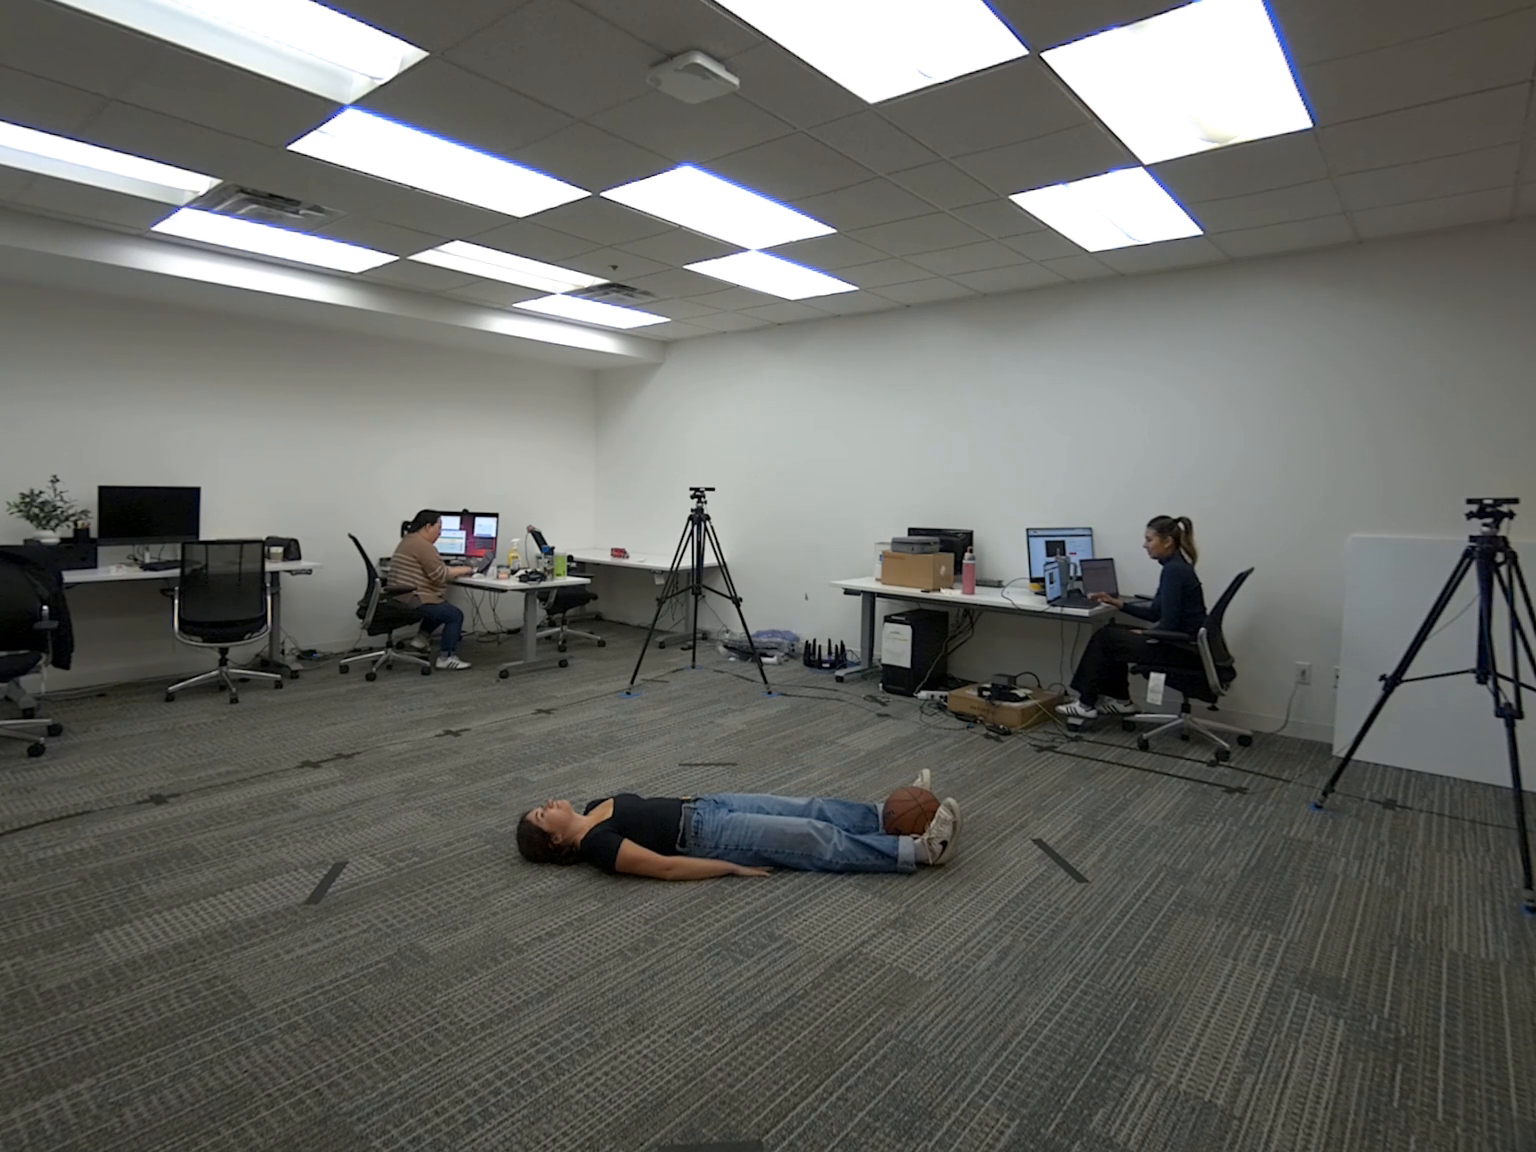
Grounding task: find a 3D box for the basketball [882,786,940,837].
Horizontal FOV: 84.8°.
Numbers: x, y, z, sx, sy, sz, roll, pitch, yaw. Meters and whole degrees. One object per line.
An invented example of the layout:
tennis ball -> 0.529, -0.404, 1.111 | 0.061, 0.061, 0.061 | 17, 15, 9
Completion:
basketball -> 0.557, 0.940, 3.331 | 0.235, 0.235, 0.237 | 1, 4, -2
